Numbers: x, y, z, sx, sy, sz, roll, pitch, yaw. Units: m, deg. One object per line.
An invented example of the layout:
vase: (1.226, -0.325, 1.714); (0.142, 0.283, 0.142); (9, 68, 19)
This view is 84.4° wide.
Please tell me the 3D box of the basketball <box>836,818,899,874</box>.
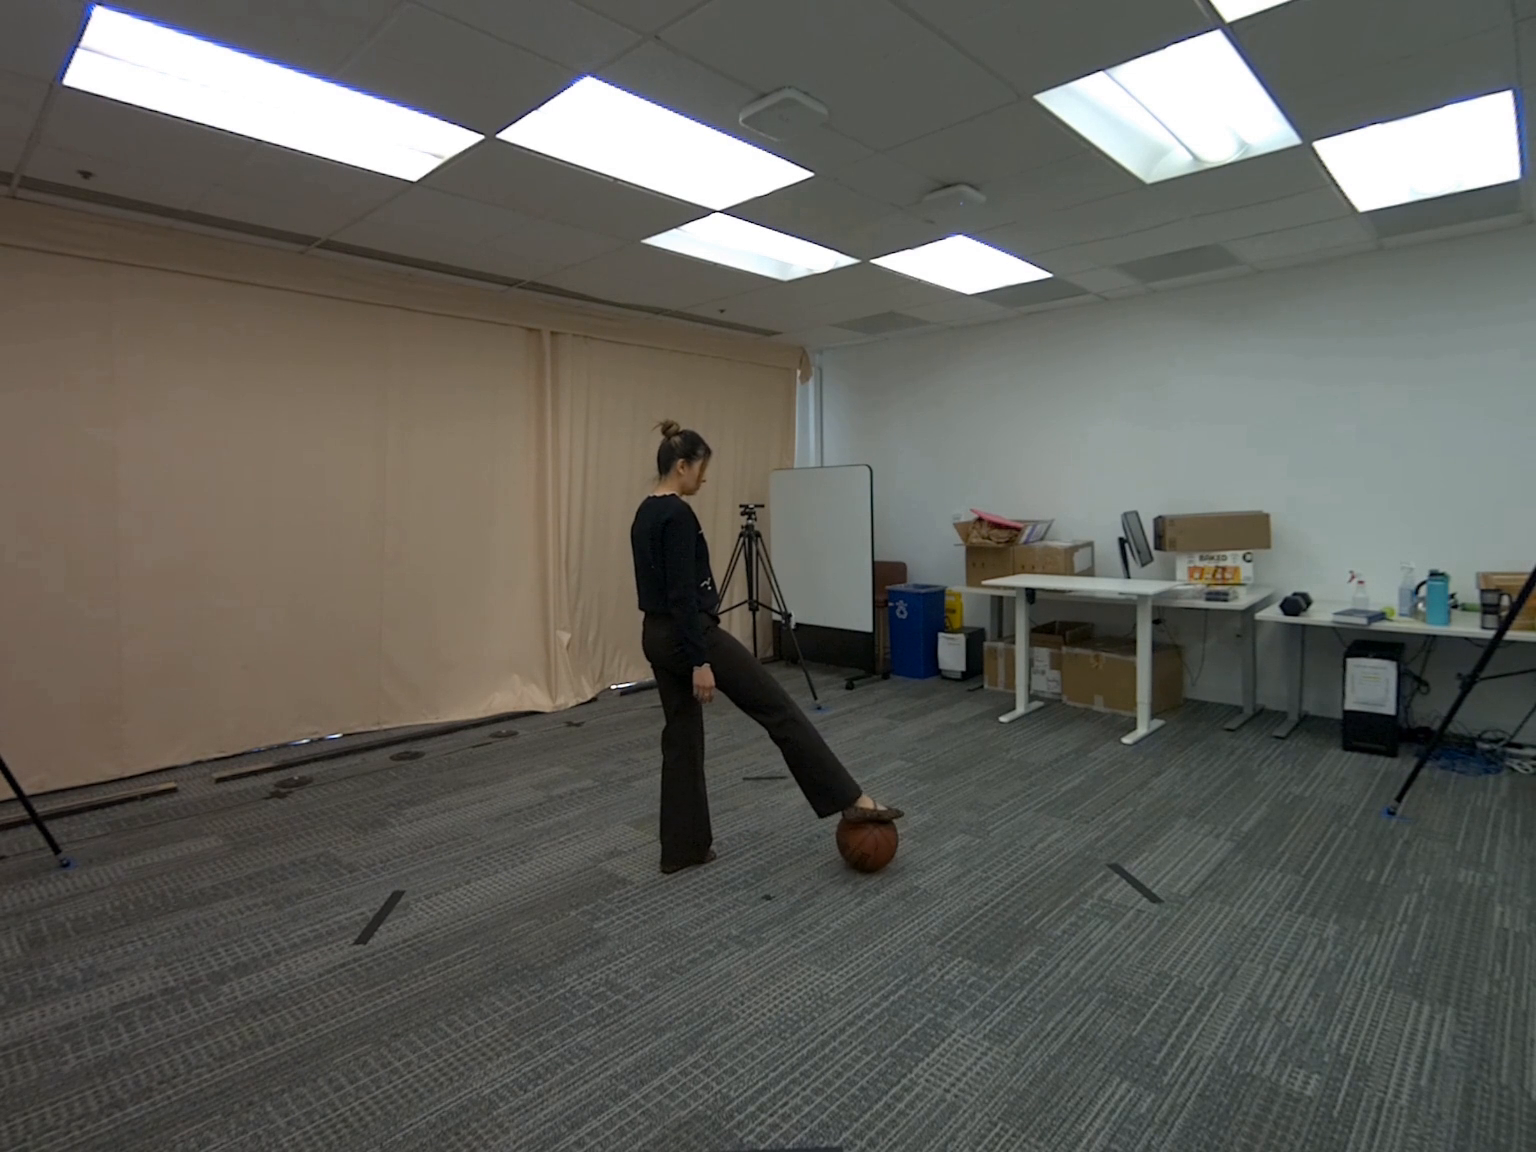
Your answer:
basketball: (0.370, 0.997, 3.218); (0.236, 0.235, 0.237); (-1, 4, -2)
